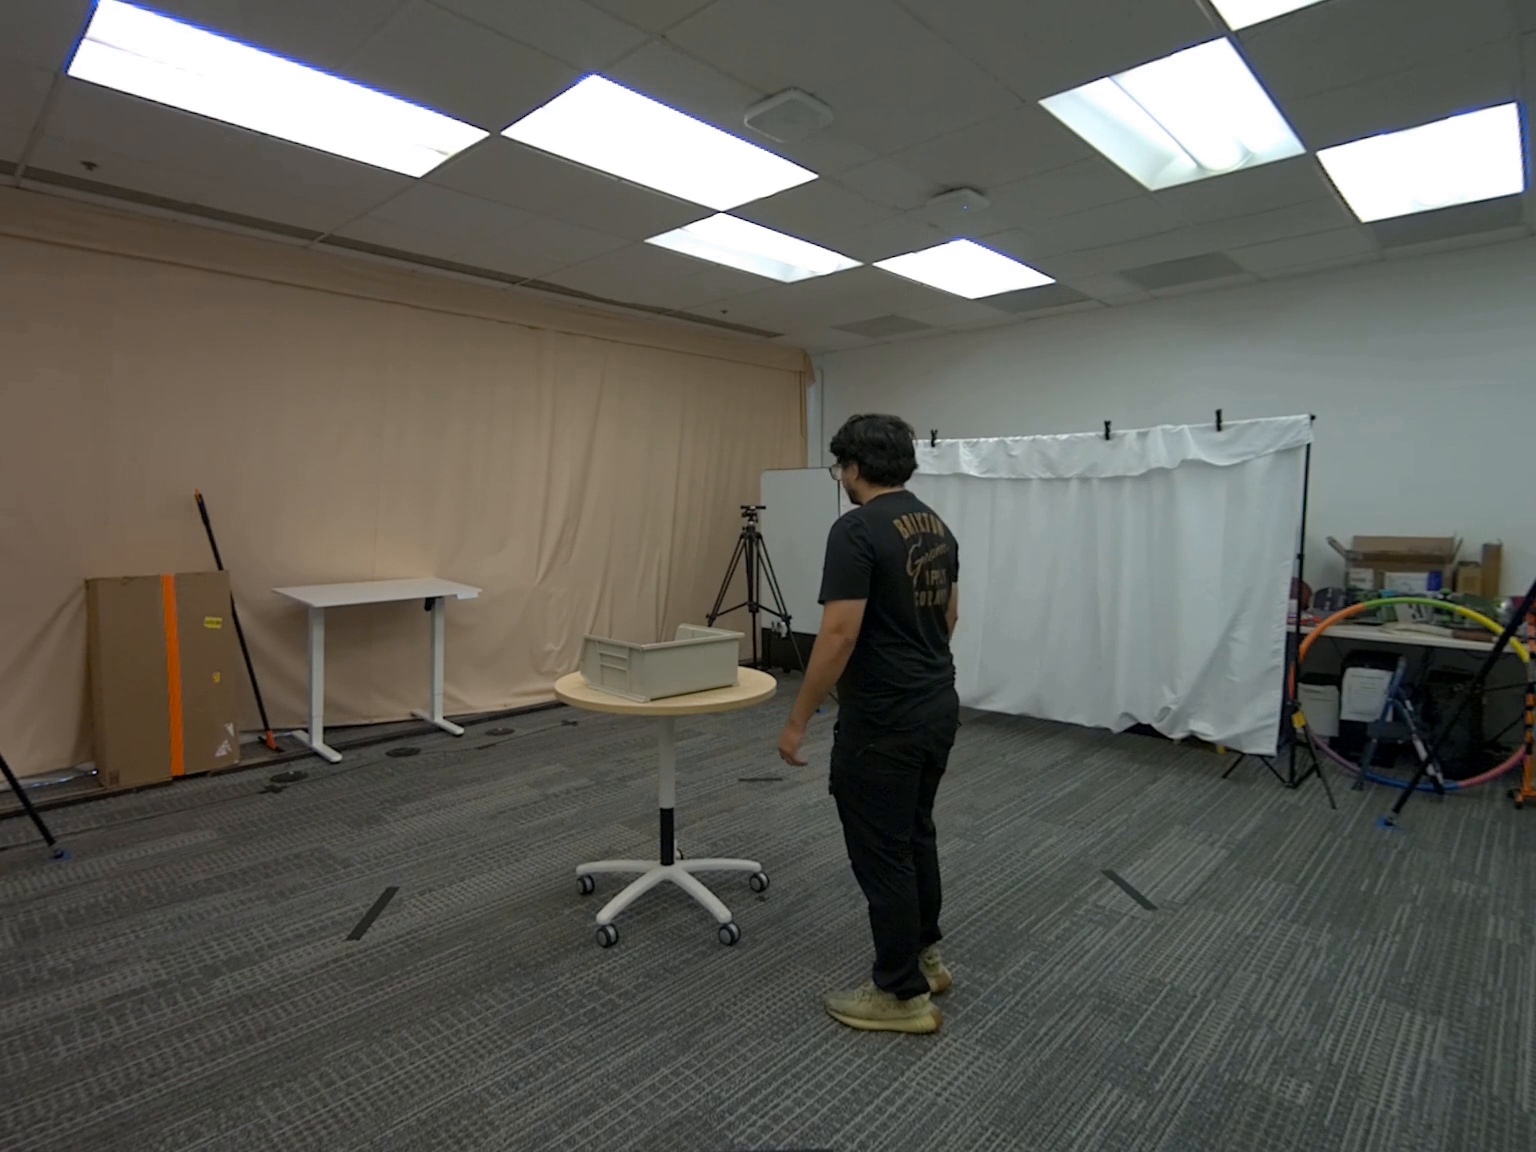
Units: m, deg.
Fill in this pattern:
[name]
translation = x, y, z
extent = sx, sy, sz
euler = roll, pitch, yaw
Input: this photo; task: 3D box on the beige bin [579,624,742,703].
[beige bin]
translation = -0.363, 0.286, 2.846
extent = 0.409, 0.188, 0.390
euler = -2, 5, -42
